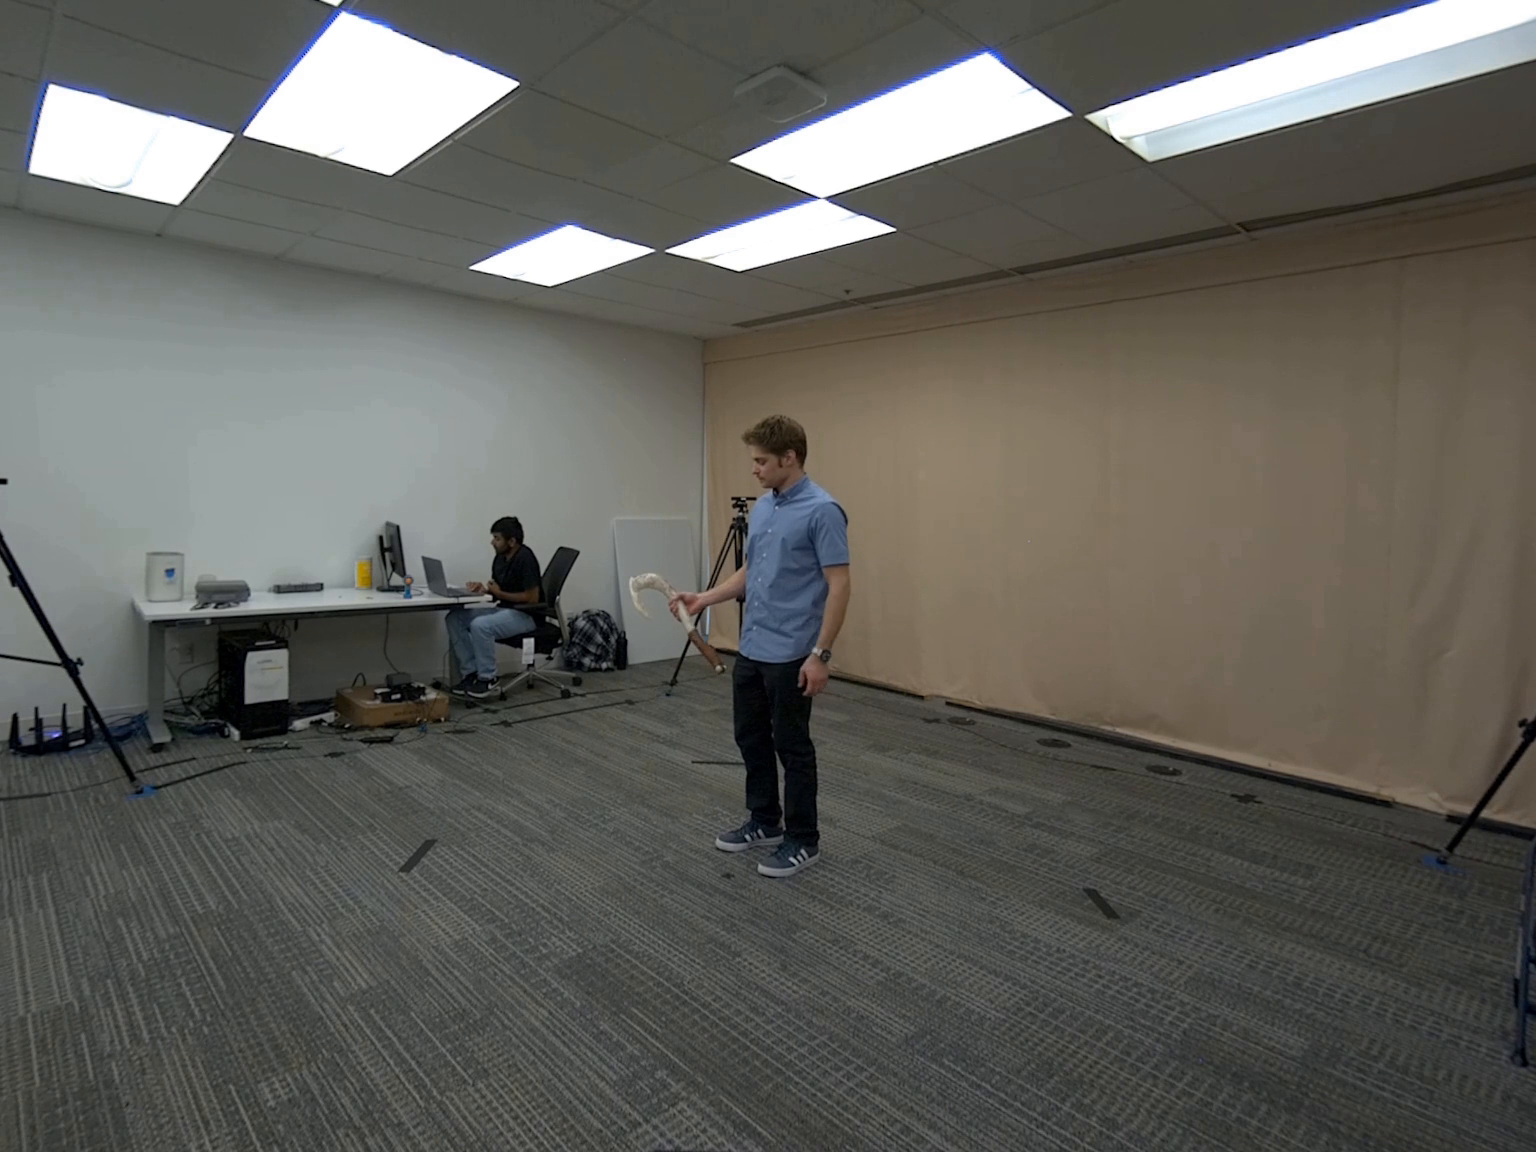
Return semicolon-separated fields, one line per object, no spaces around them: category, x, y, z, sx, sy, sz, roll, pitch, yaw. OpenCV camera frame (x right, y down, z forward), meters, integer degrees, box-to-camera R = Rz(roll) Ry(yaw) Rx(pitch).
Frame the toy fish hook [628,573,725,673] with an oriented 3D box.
toy fish hook;-0.356;0.179;3.195;0.221;0.048;0.518;-17;59;-45
